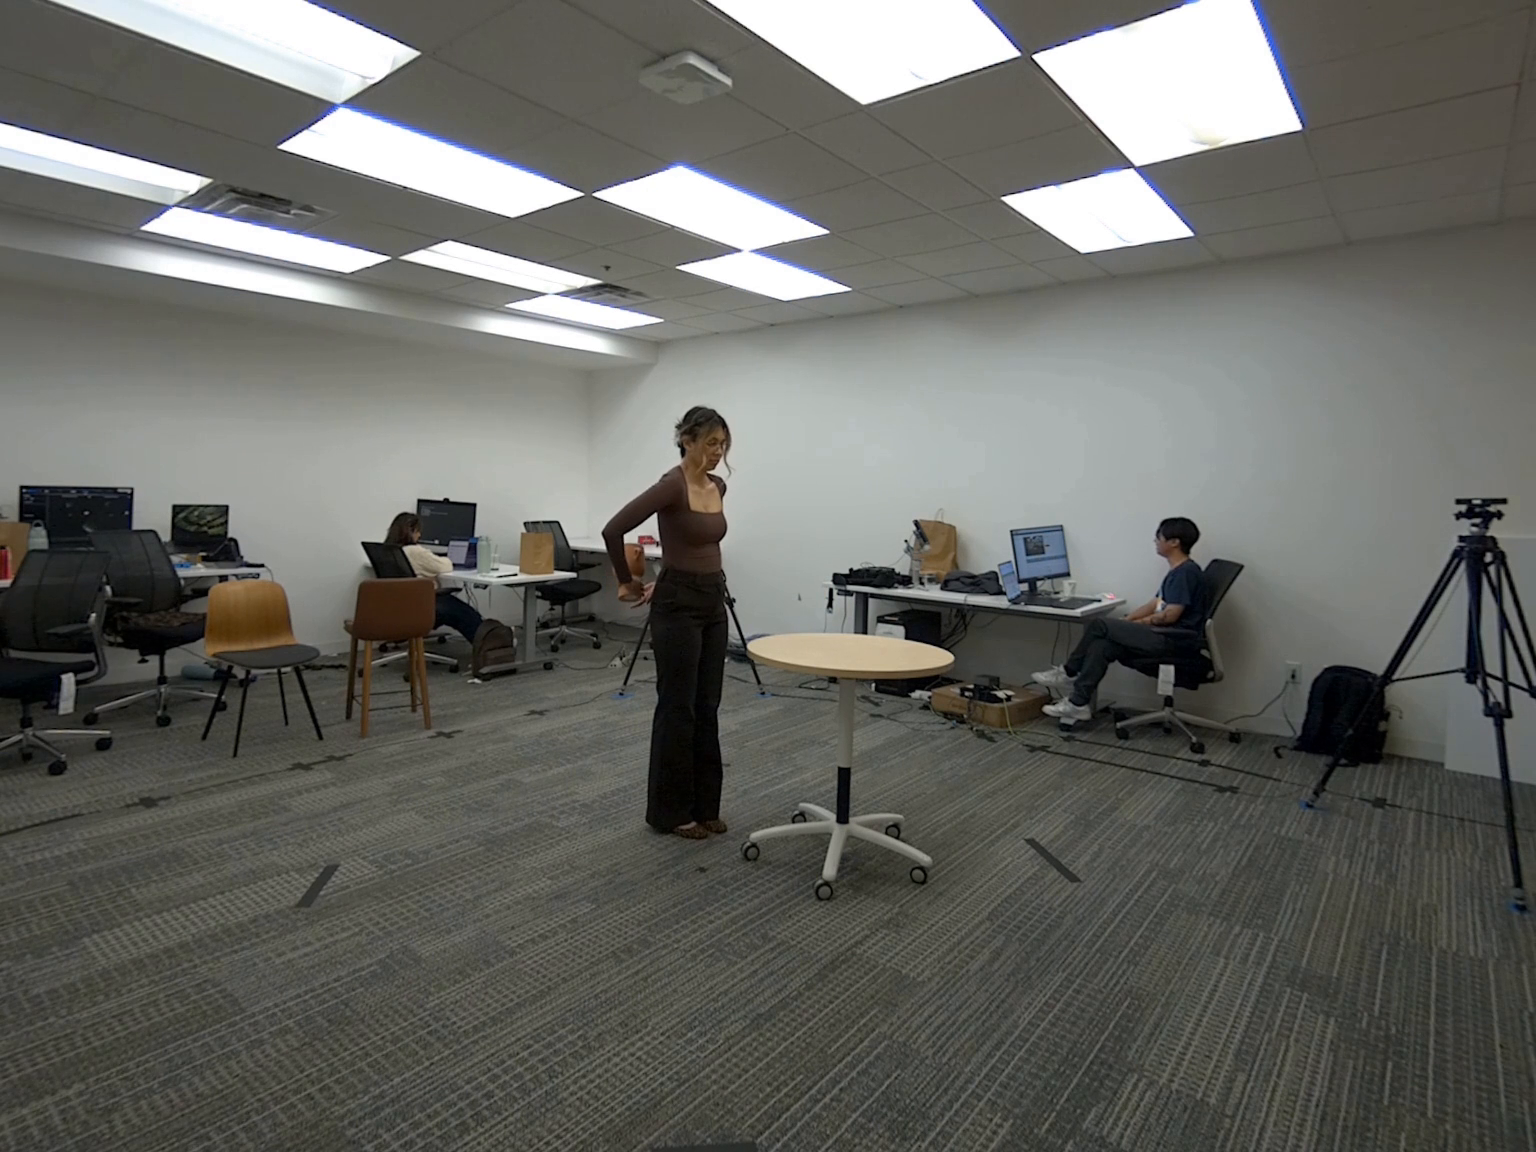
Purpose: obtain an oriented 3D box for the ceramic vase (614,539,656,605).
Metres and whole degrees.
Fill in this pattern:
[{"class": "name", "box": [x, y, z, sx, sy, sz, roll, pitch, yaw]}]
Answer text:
[{"class": "ceramic vase", "box": [-0.560, -0.016, 3.535, 0.135, 0.225, 0.154, -6, -23, 5]}]
